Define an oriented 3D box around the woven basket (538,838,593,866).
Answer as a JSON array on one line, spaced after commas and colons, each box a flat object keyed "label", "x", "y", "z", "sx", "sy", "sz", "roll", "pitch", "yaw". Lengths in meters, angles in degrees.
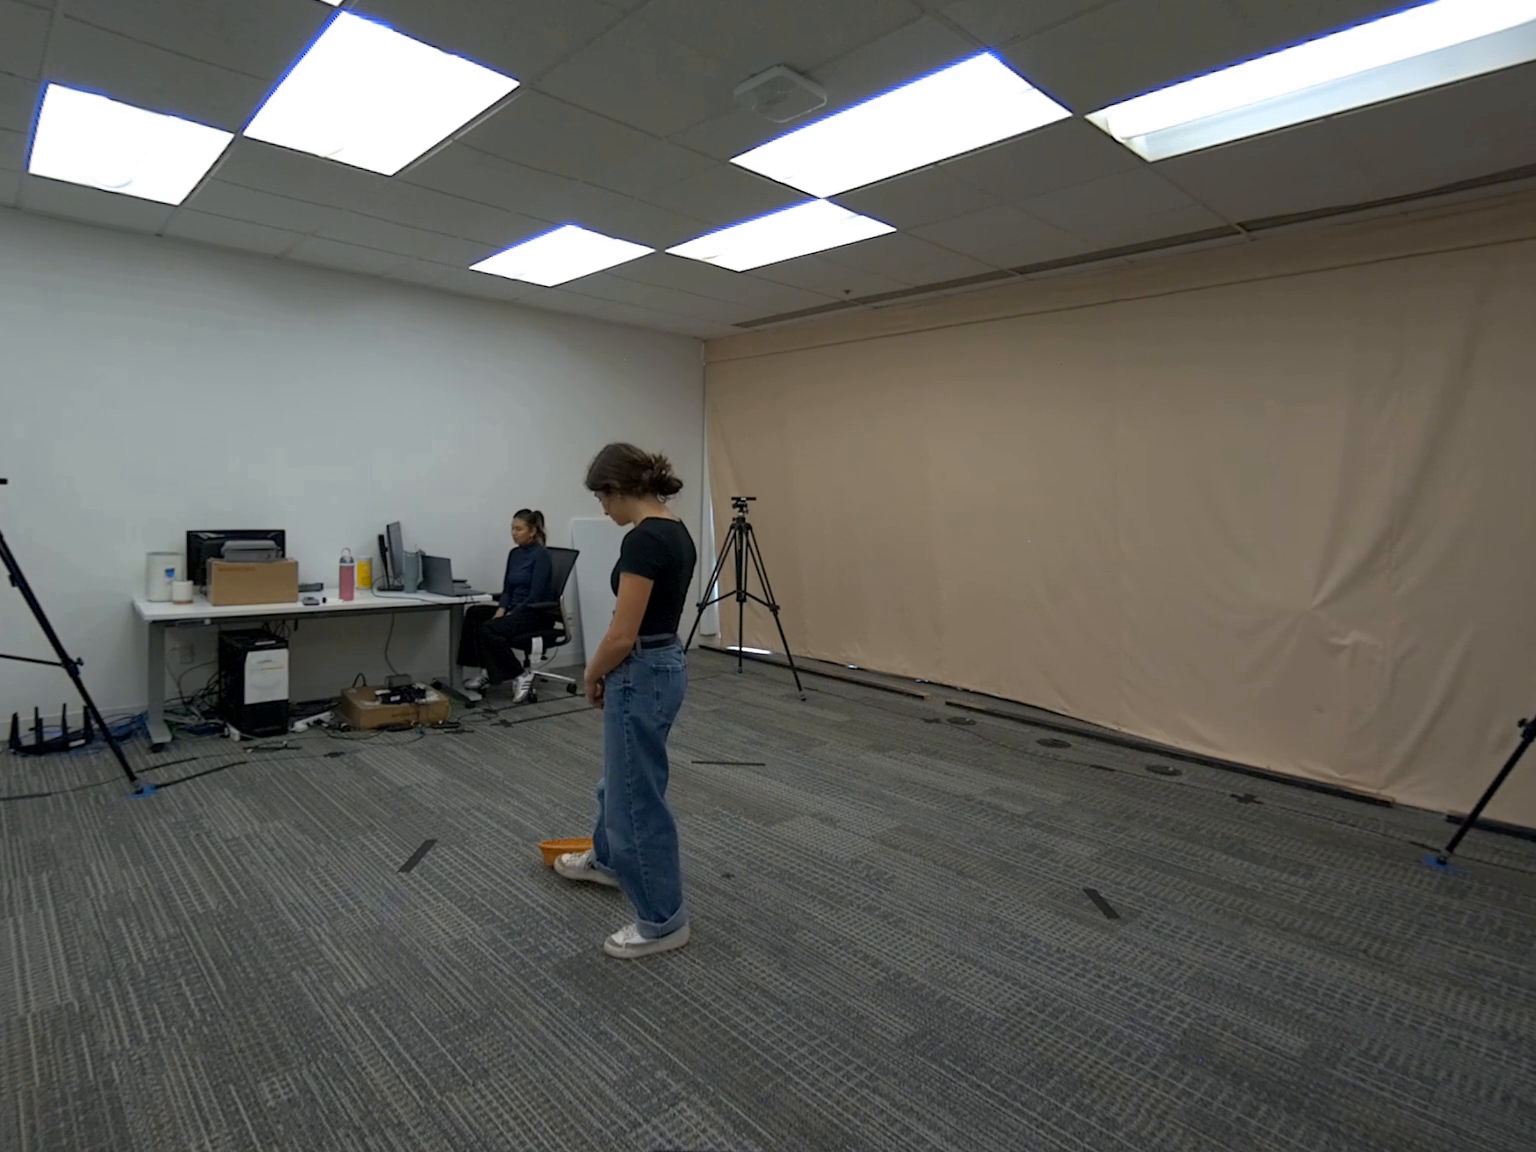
[{"label": "woven basket", "x": -0.692, "y": 1.038, "z": 3.148, "sx": 0.348, "sy": 0.074, "sz": 0.252, "roll": 1, "pitch": -9, "yaw": -8}]
